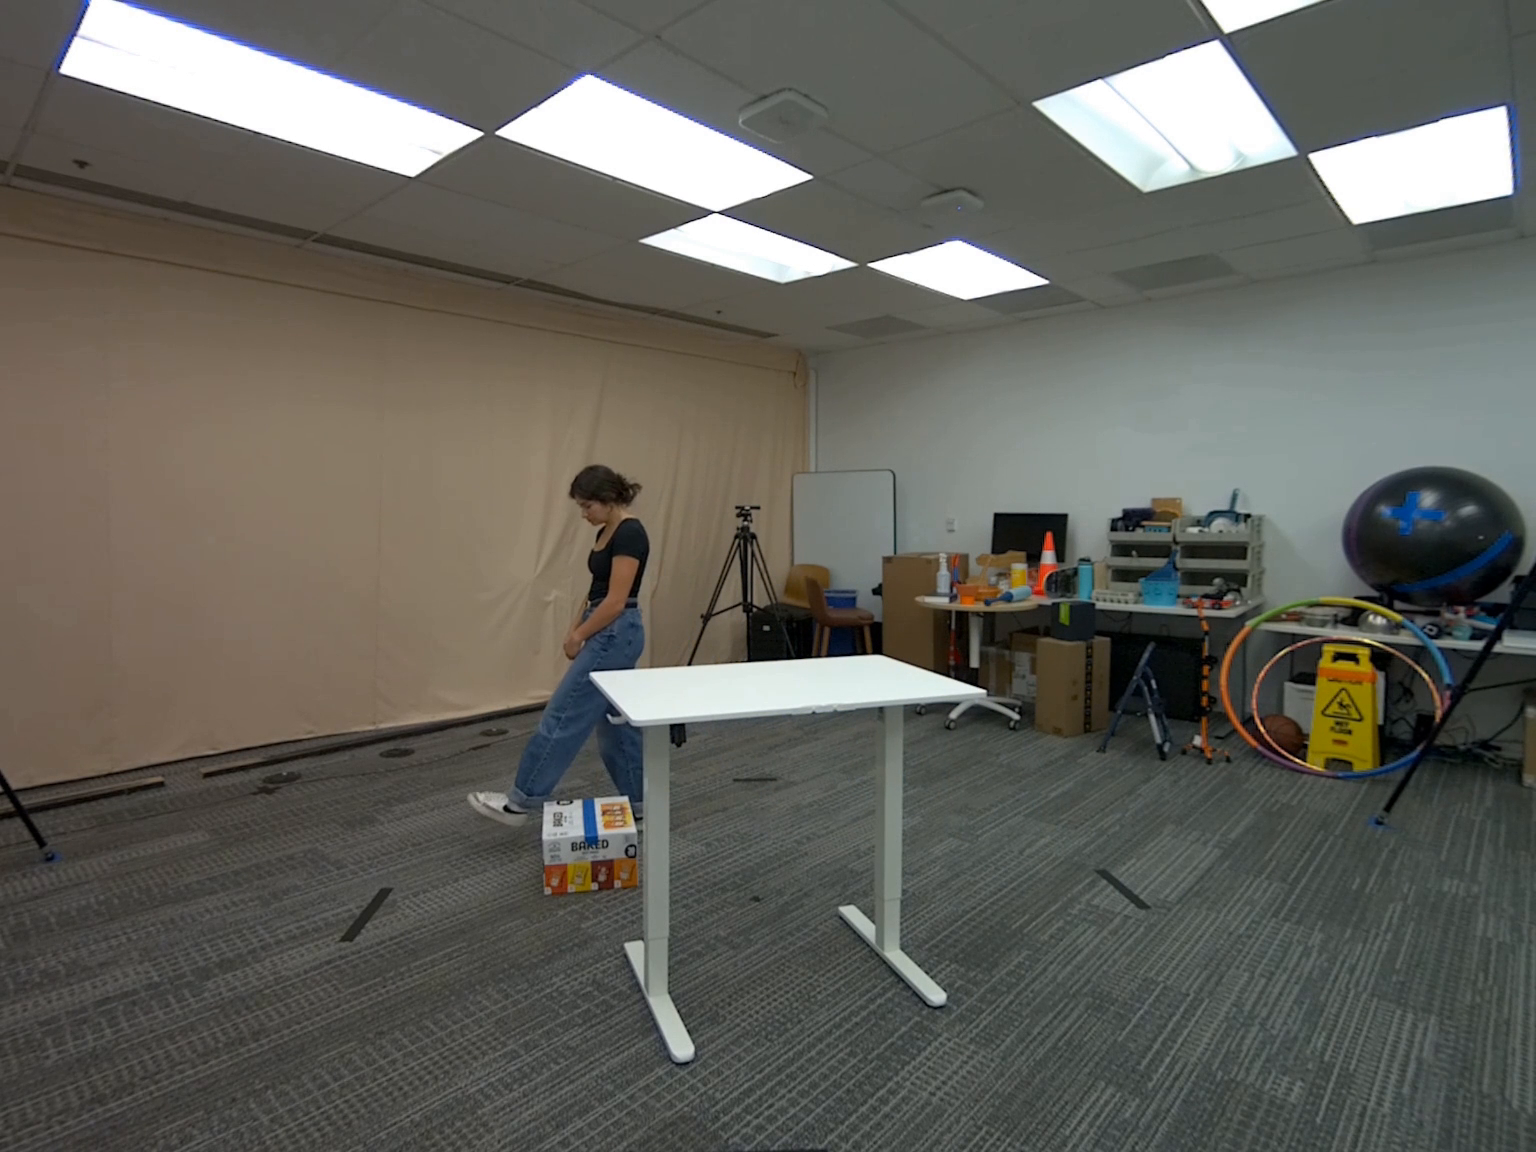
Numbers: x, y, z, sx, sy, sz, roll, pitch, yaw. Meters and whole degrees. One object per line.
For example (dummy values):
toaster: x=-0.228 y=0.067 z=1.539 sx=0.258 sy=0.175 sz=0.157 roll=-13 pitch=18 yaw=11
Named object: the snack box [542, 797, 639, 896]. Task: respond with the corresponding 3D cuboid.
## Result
snack box: x=-0.694 y=1.027 z=3.243 sx=0.336 sy=0.205 sz=0.411 roll=-1 pitch=4 yaw=-13
